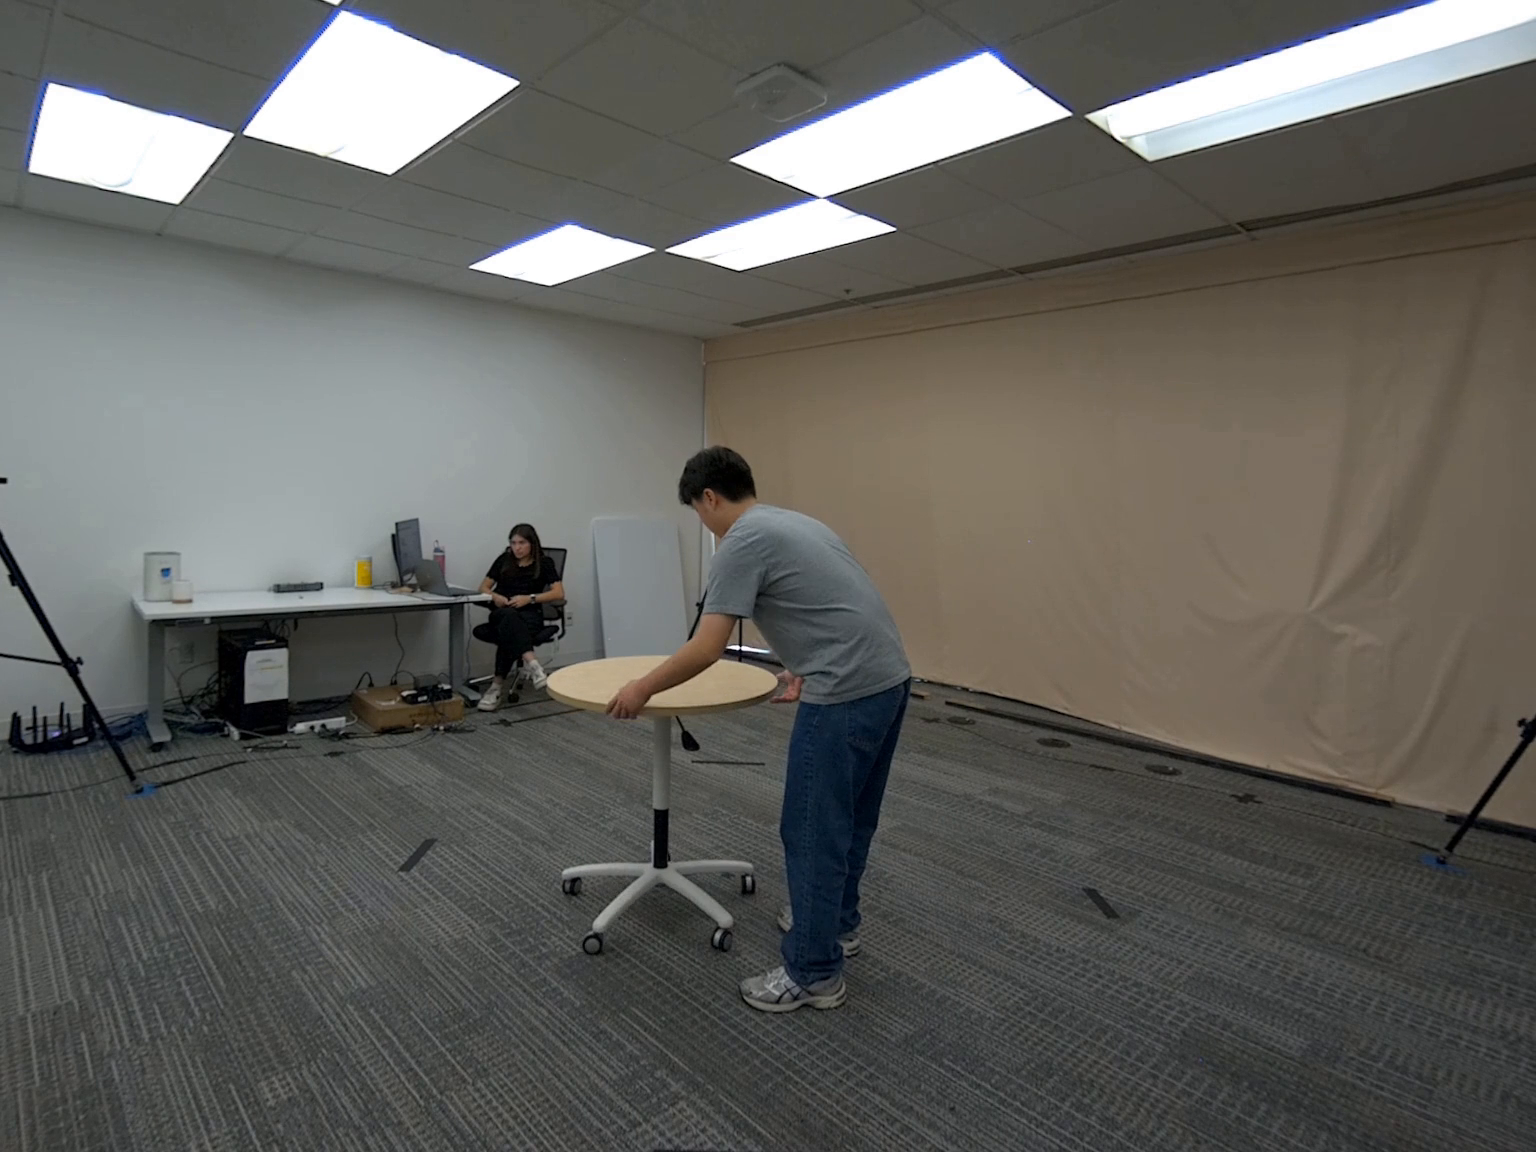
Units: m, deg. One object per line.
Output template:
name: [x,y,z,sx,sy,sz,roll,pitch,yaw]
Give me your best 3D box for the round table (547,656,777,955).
round table: [-0.367,0.735,2.832,0.763,0.792,0.767,1,4,-1]
